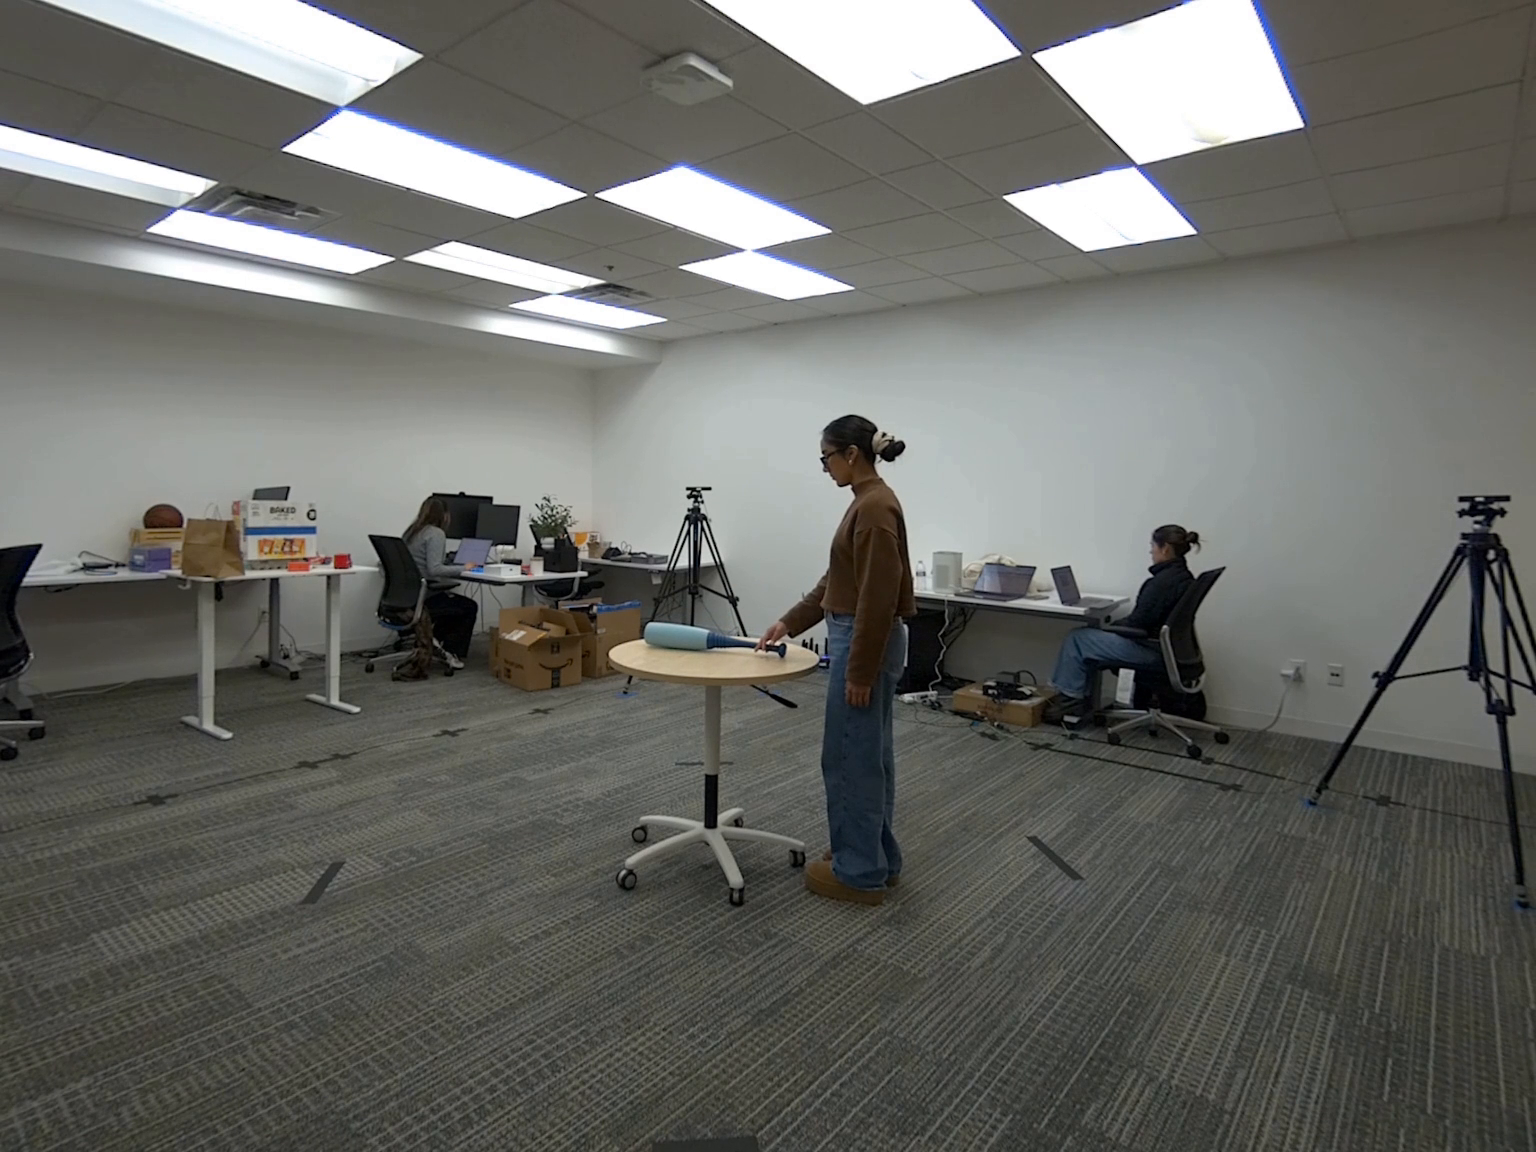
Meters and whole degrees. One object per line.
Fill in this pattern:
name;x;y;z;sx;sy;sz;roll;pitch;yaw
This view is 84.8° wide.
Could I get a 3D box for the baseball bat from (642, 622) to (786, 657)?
baseball bat;-0.211;0.244;3.153;0.553;0.089;0.088;6;5;15
